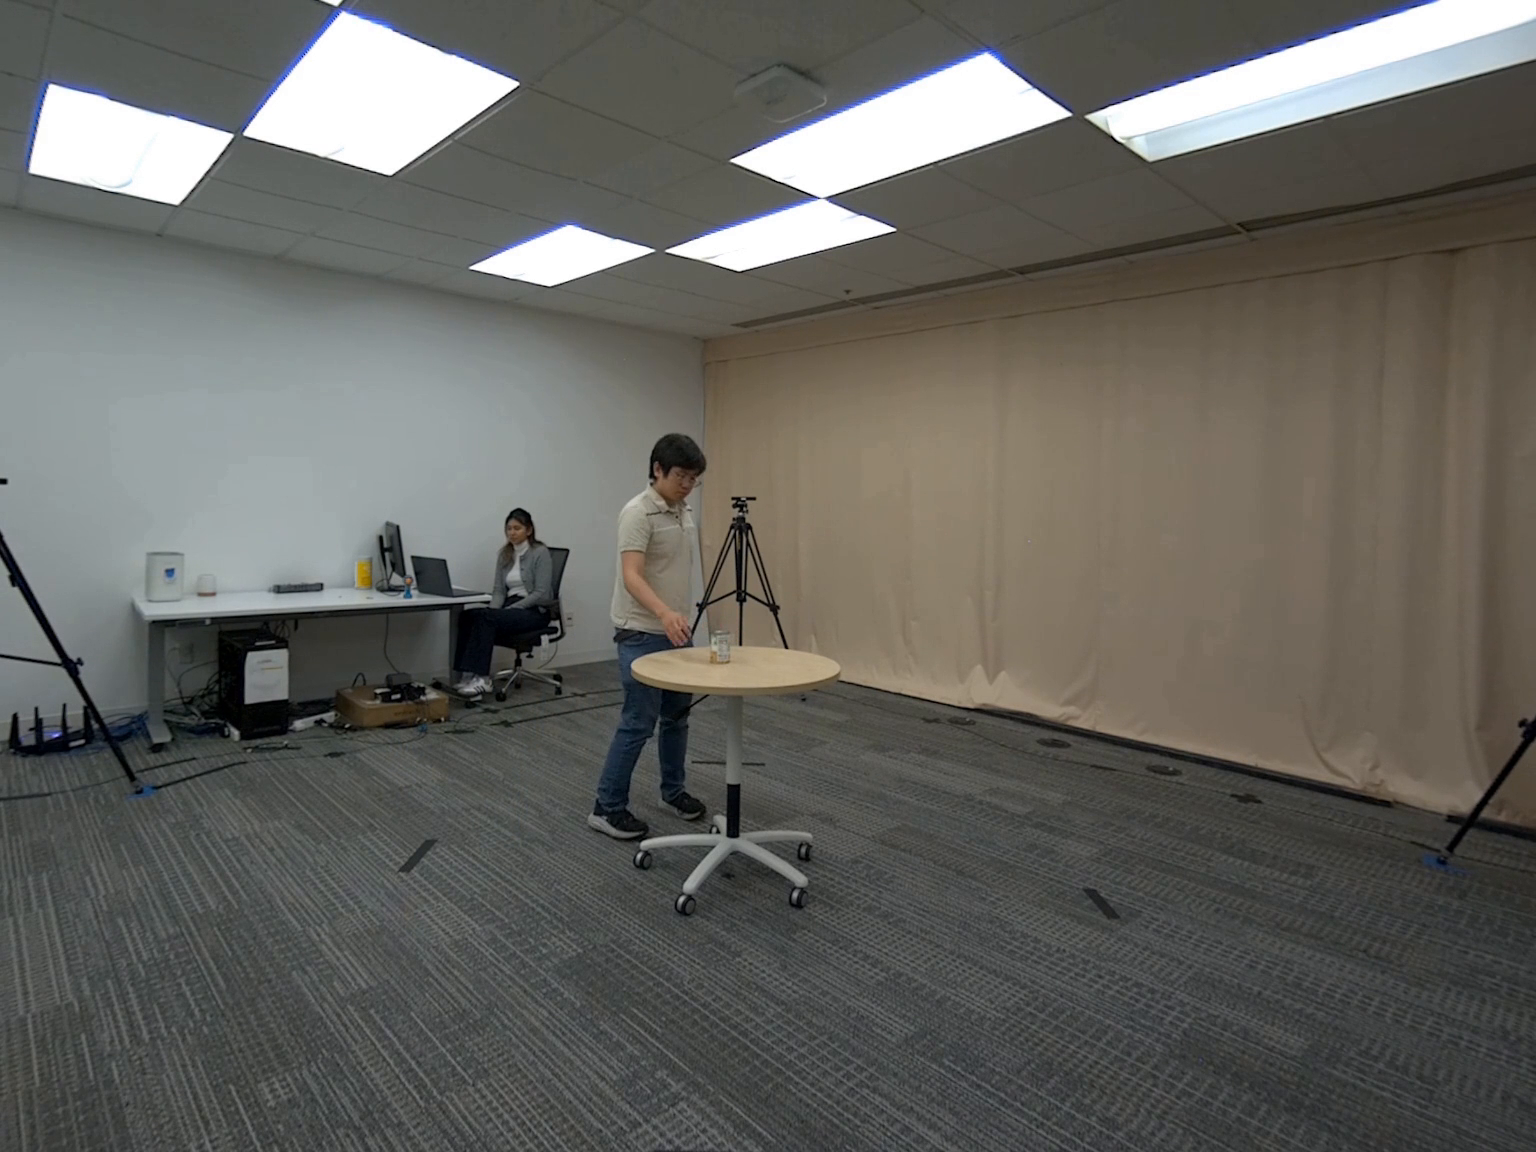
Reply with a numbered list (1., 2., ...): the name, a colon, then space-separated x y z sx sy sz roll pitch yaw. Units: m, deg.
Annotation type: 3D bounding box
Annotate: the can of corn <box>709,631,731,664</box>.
1. can of corn: -0.186 0.265 3.123 0.074 0.111 0.074 1 4 -1
